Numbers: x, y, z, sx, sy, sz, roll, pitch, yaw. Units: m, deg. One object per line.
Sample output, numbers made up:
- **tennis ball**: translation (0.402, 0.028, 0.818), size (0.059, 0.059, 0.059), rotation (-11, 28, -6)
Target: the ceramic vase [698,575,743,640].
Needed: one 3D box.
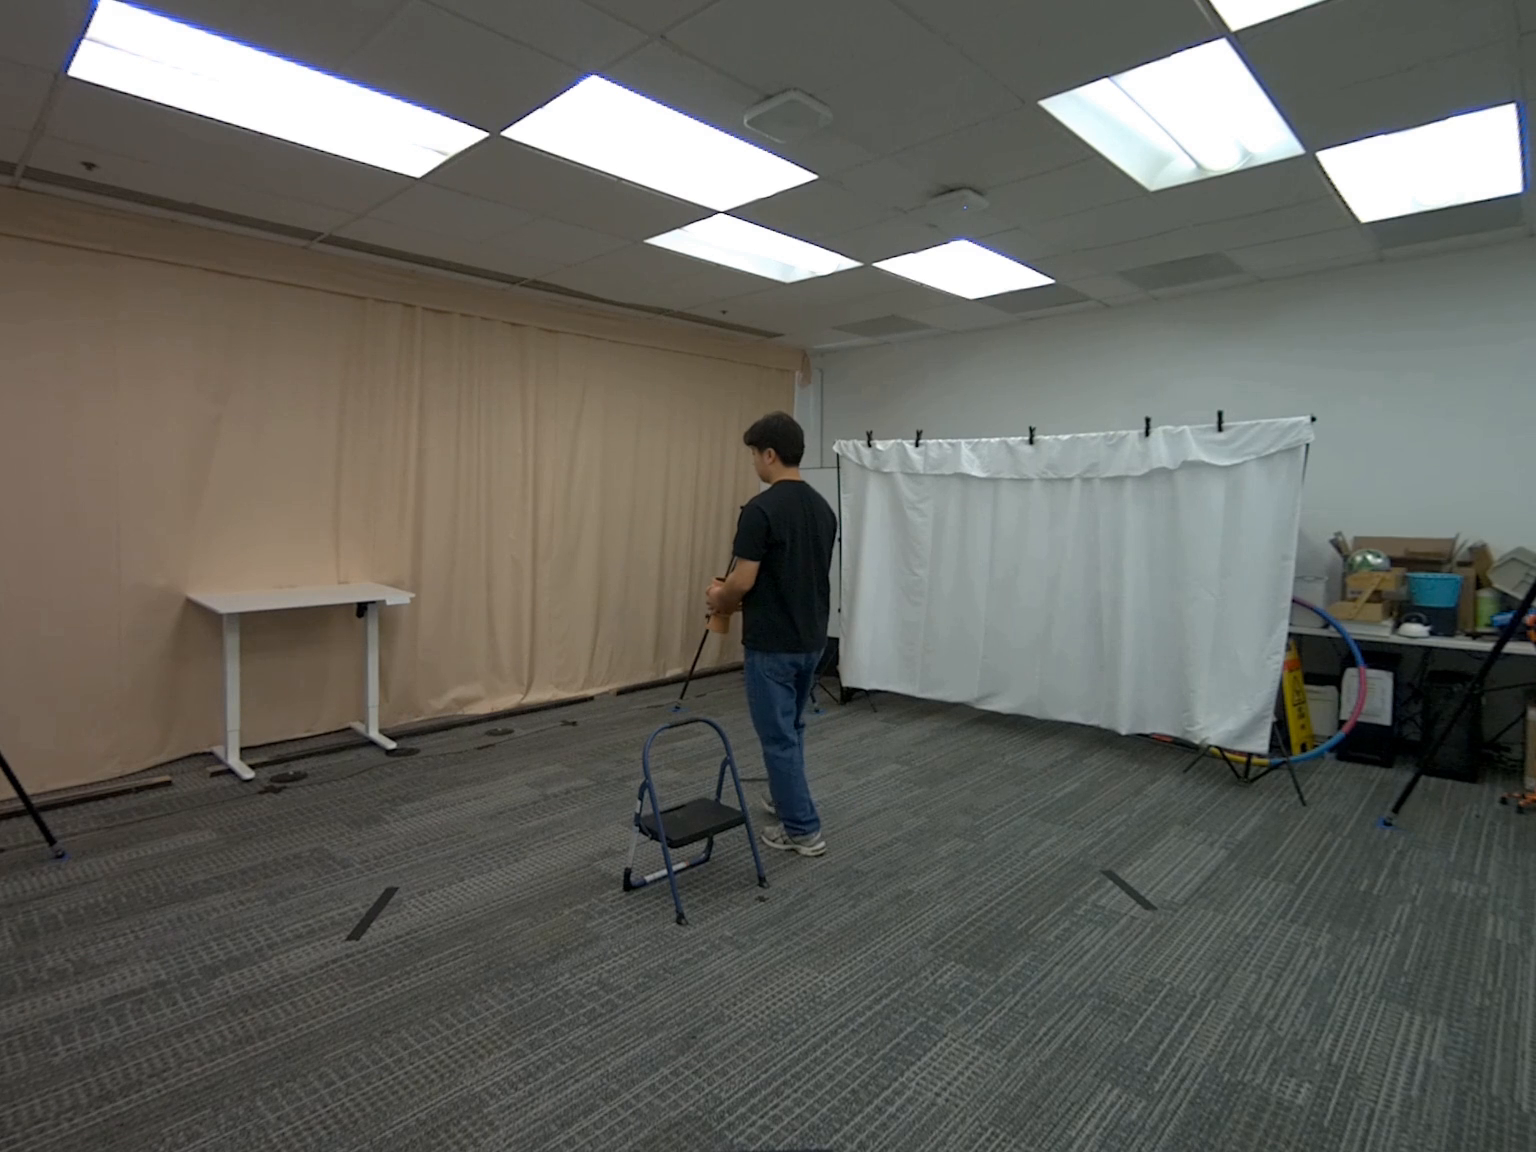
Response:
- **ceramic vase**: translation (-0.185, 0.131, 3.601), size (0.161, 0.219, 0.133), rotation (13, 10, 10)
